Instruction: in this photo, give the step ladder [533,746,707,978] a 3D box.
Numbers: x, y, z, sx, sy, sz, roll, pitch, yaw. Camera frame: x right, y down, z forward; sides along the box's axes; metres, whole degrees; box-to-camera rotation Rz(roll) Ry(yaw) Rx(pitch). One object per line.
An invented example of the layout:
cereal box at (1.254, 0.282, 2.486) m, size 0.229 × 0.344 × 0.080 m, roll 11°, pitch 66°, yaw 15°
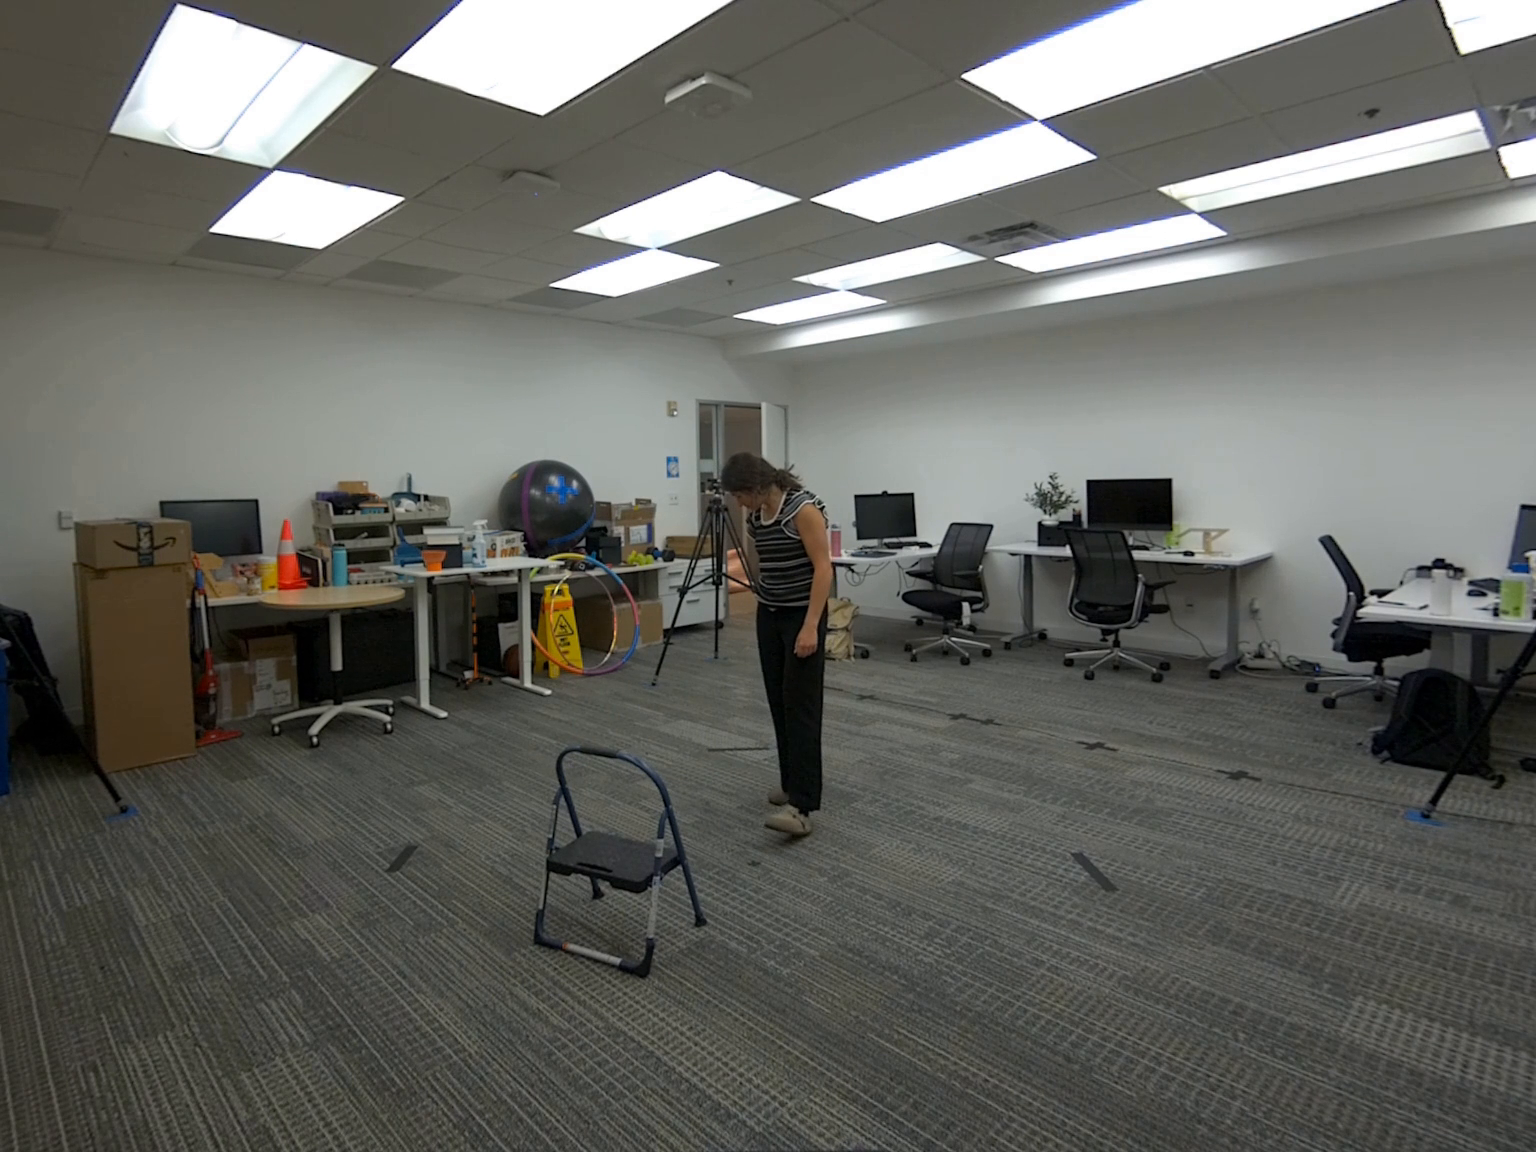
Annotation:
step ladder at (-0.461, 0.808, 2.631) m, size 0.441 × 0.604 × 0.342 m, roll 1°, pitch 5°, yaw 26°
